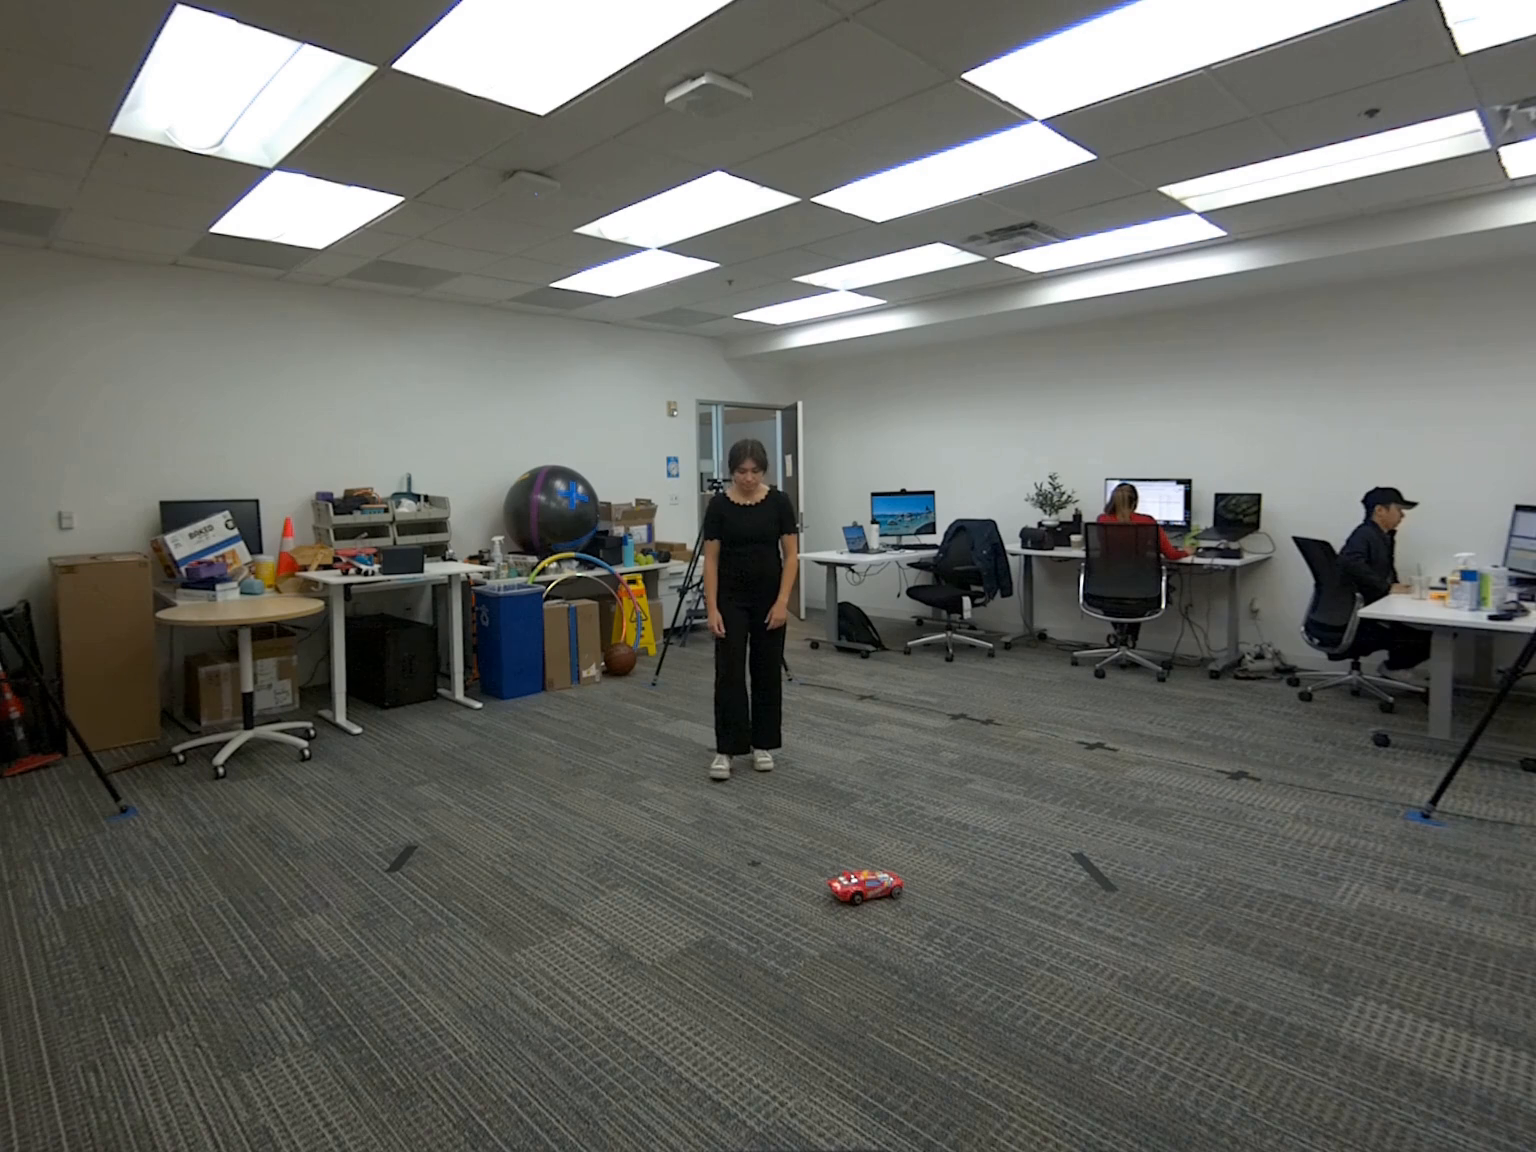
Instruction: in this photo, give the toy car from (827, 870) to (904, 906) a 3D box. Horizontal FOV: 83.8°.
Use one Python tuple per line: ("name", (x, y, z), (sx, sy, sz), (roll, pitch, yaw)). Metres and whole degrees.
("toy car", (0.324, 1.040, 2.844), (0.250, 0.083, 0.133), (8, 2, -18))
